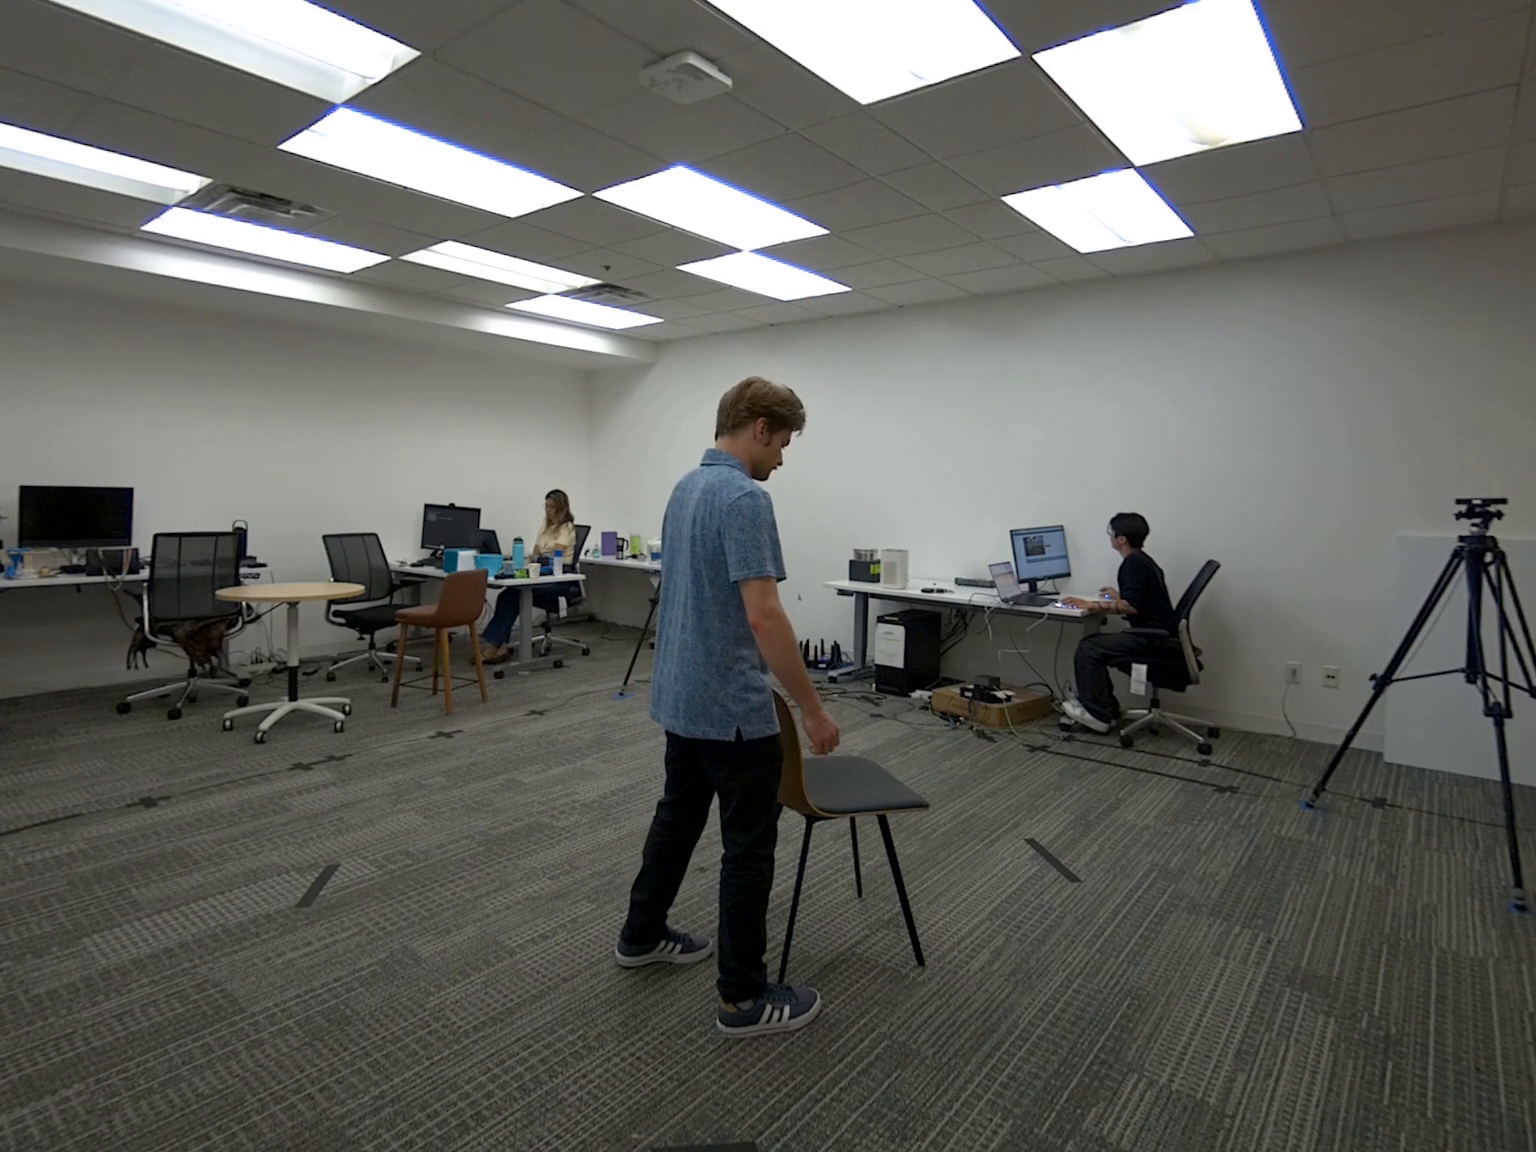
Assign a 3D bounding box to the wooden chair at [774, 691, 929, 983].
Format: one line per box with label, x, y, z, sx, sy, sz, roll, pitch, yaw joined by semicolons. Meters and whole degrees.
wooden chair;0.191;0.695;2.643;0.515;0.874;0.488;-4;4;-17
